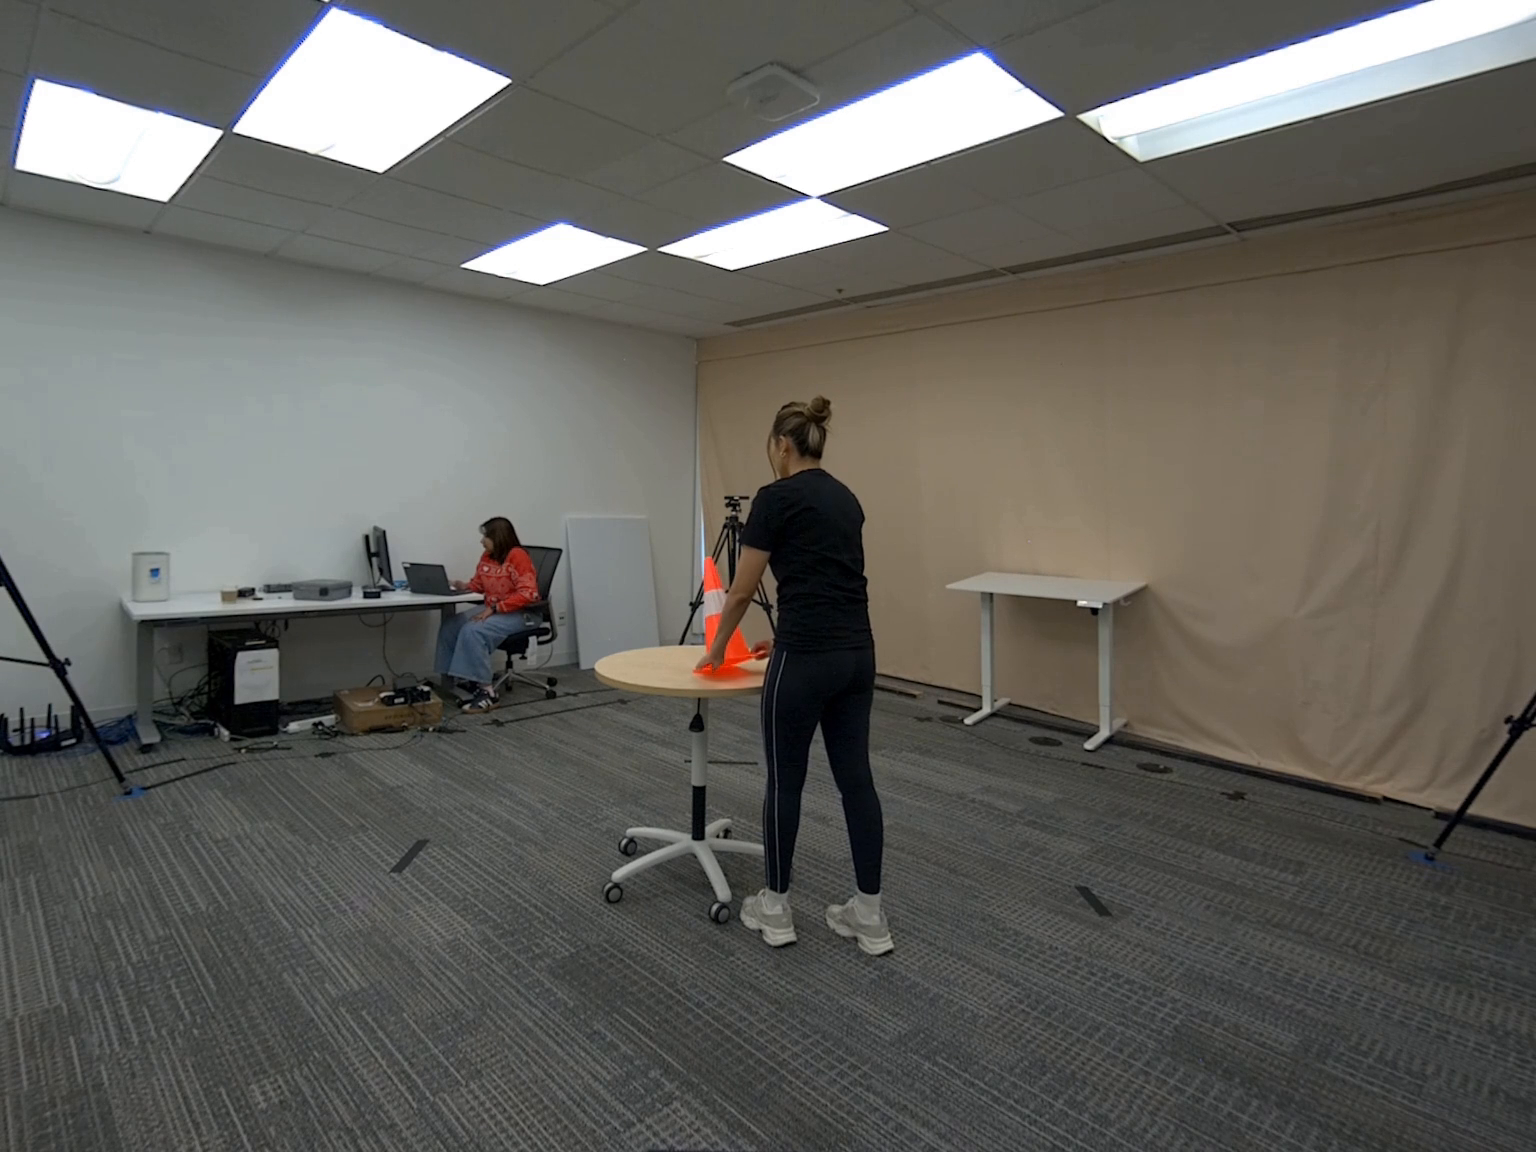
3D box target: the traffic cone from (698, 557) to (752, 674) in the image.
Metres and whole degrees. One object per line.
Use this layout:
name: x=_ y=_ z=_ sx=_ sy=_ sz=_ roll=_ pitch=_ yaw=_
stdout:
traffic cone: x=-0.180 y=0.123 z=2.962 sx=0.208 sy=0.387 sz=0.198 roll=-18 pitch=-12 yaw=30
